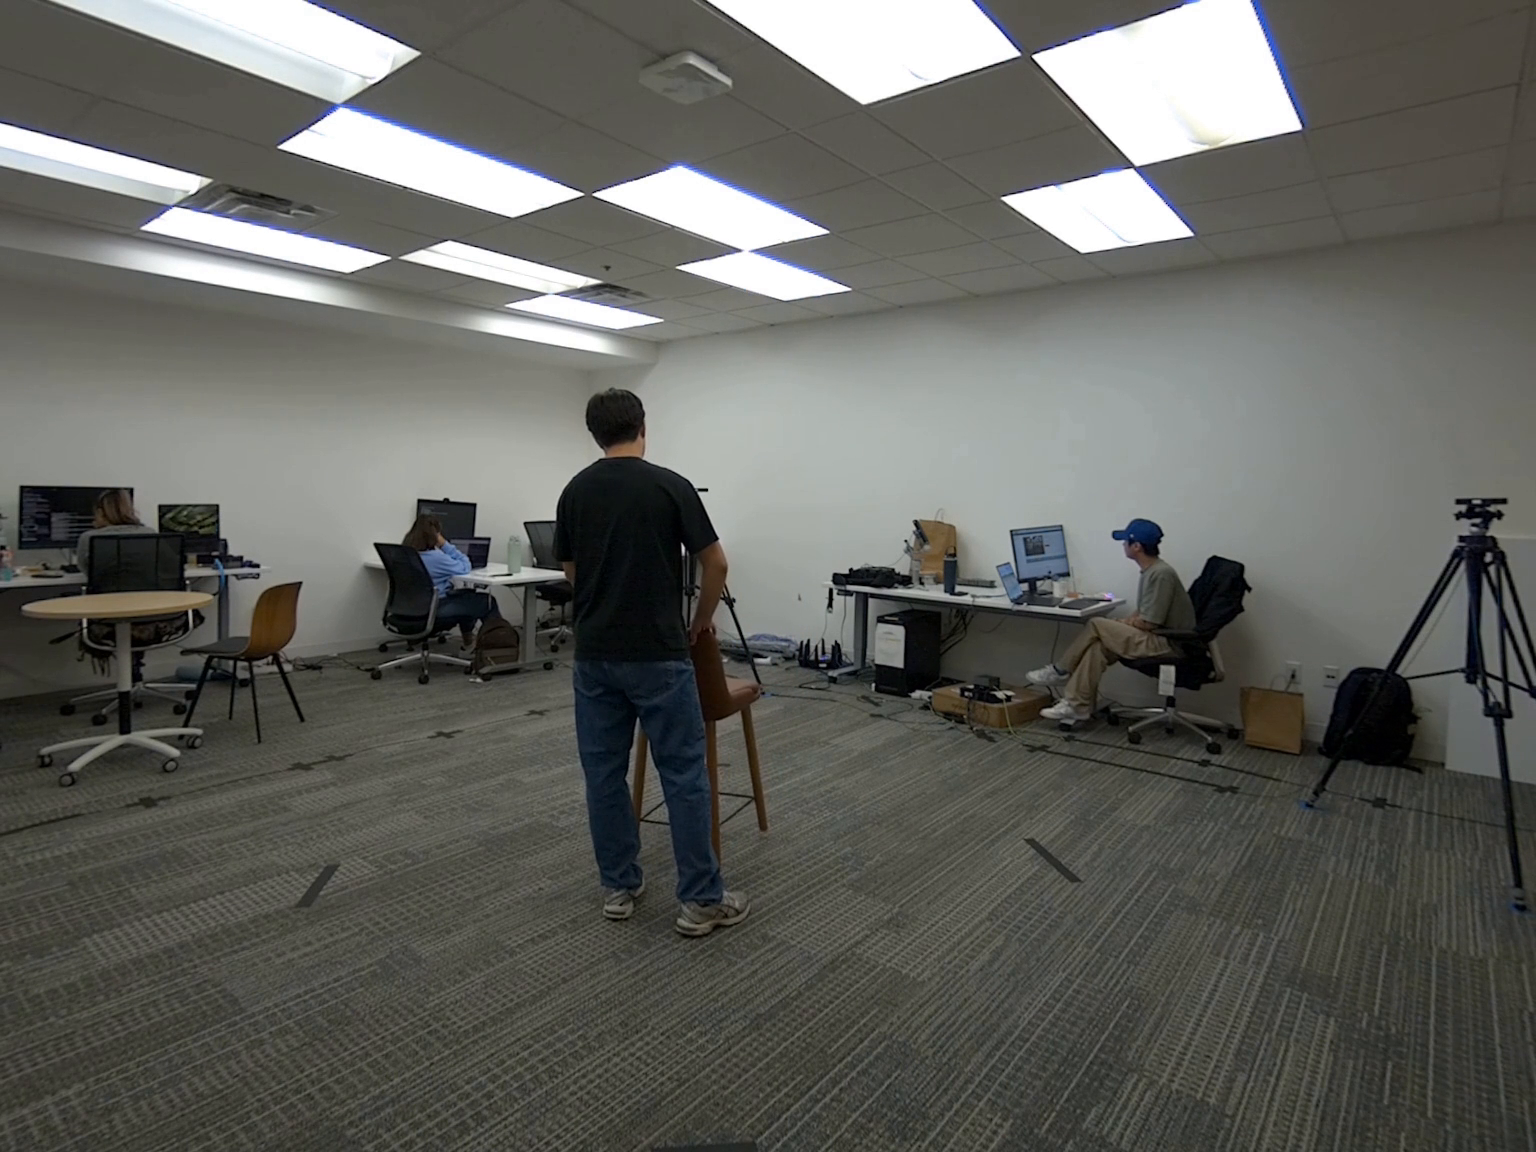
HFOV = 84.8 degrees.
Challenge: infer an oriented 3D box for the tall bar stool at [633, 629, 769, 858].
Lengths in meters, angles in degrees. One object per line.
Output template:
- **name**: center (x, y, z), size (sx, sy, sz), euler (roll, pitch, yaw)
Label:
- **tall bar stool**: center (-0.298, 0.600, 3.285), size (0.467, 0.886, 0.458), euler (-2, 4, 24)
